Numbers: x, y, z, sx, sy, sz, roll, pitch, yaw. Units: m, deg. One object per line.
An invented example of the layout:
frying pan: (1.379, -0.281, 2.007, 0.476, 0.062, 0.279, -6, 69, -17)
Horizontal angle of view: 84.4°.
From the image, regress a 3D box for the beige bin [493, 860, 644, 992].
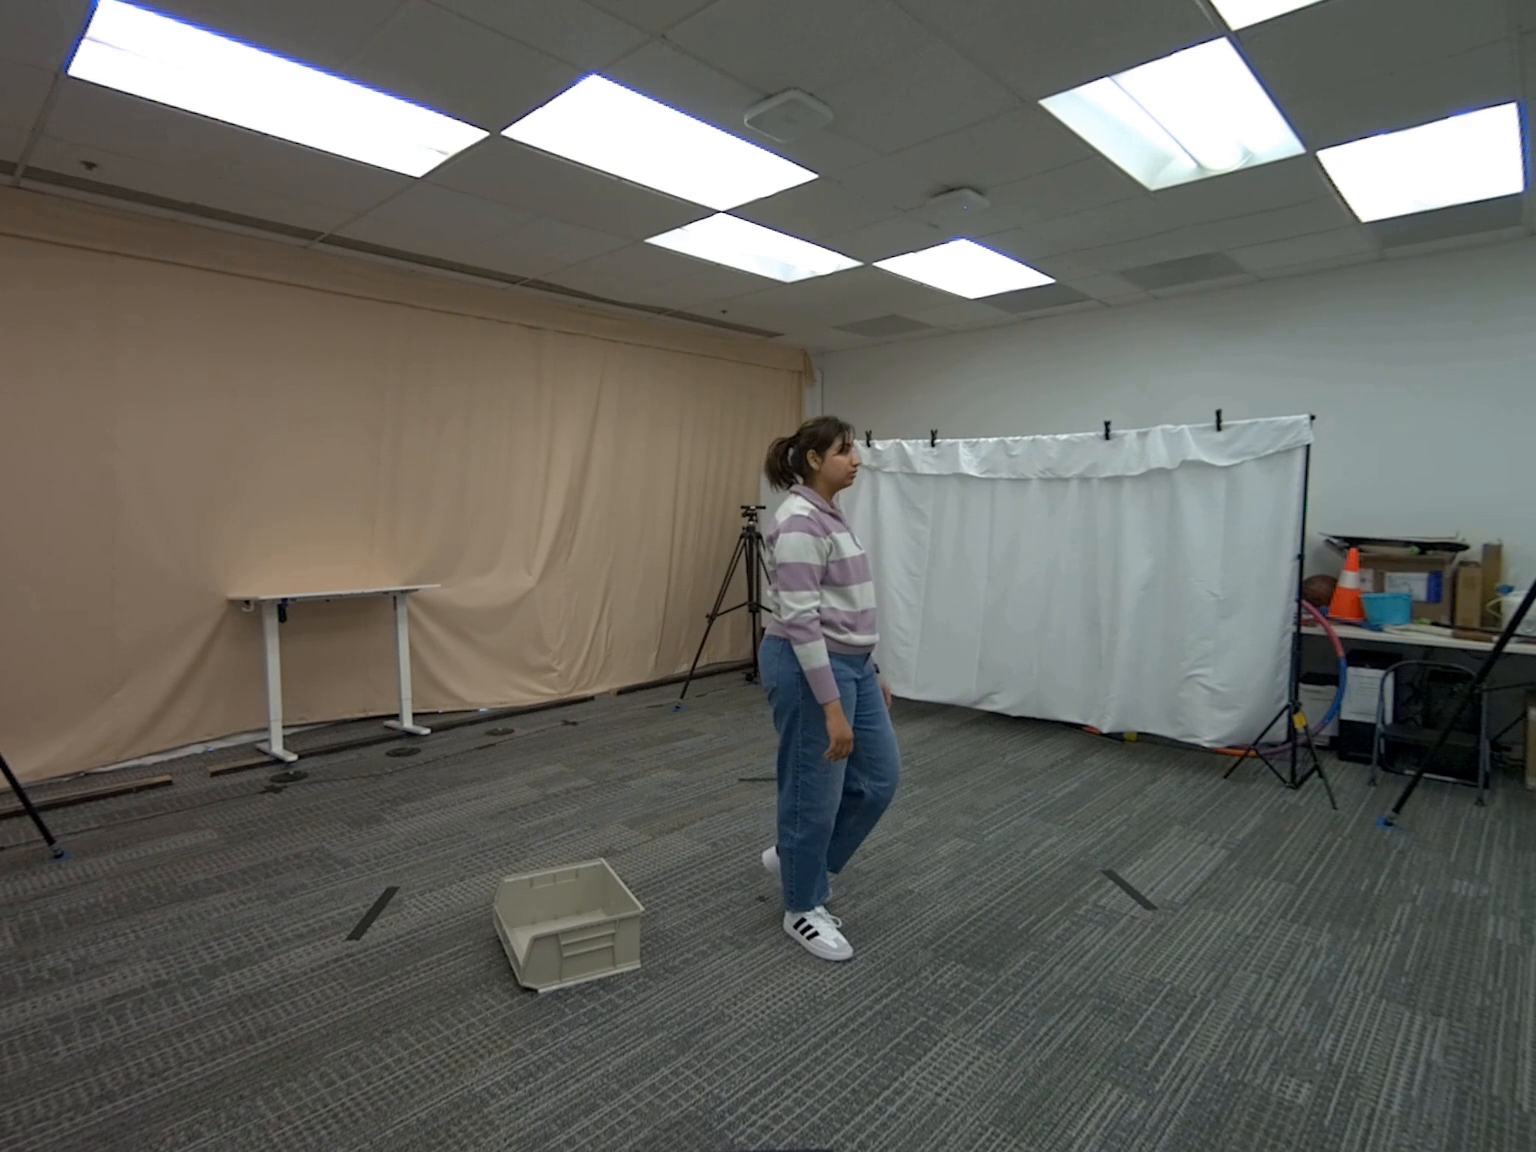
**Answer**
beige bin: (-0.634, 1.094, 2.647, 0.368, 0.188, 0.434, -1, 4, -27)
